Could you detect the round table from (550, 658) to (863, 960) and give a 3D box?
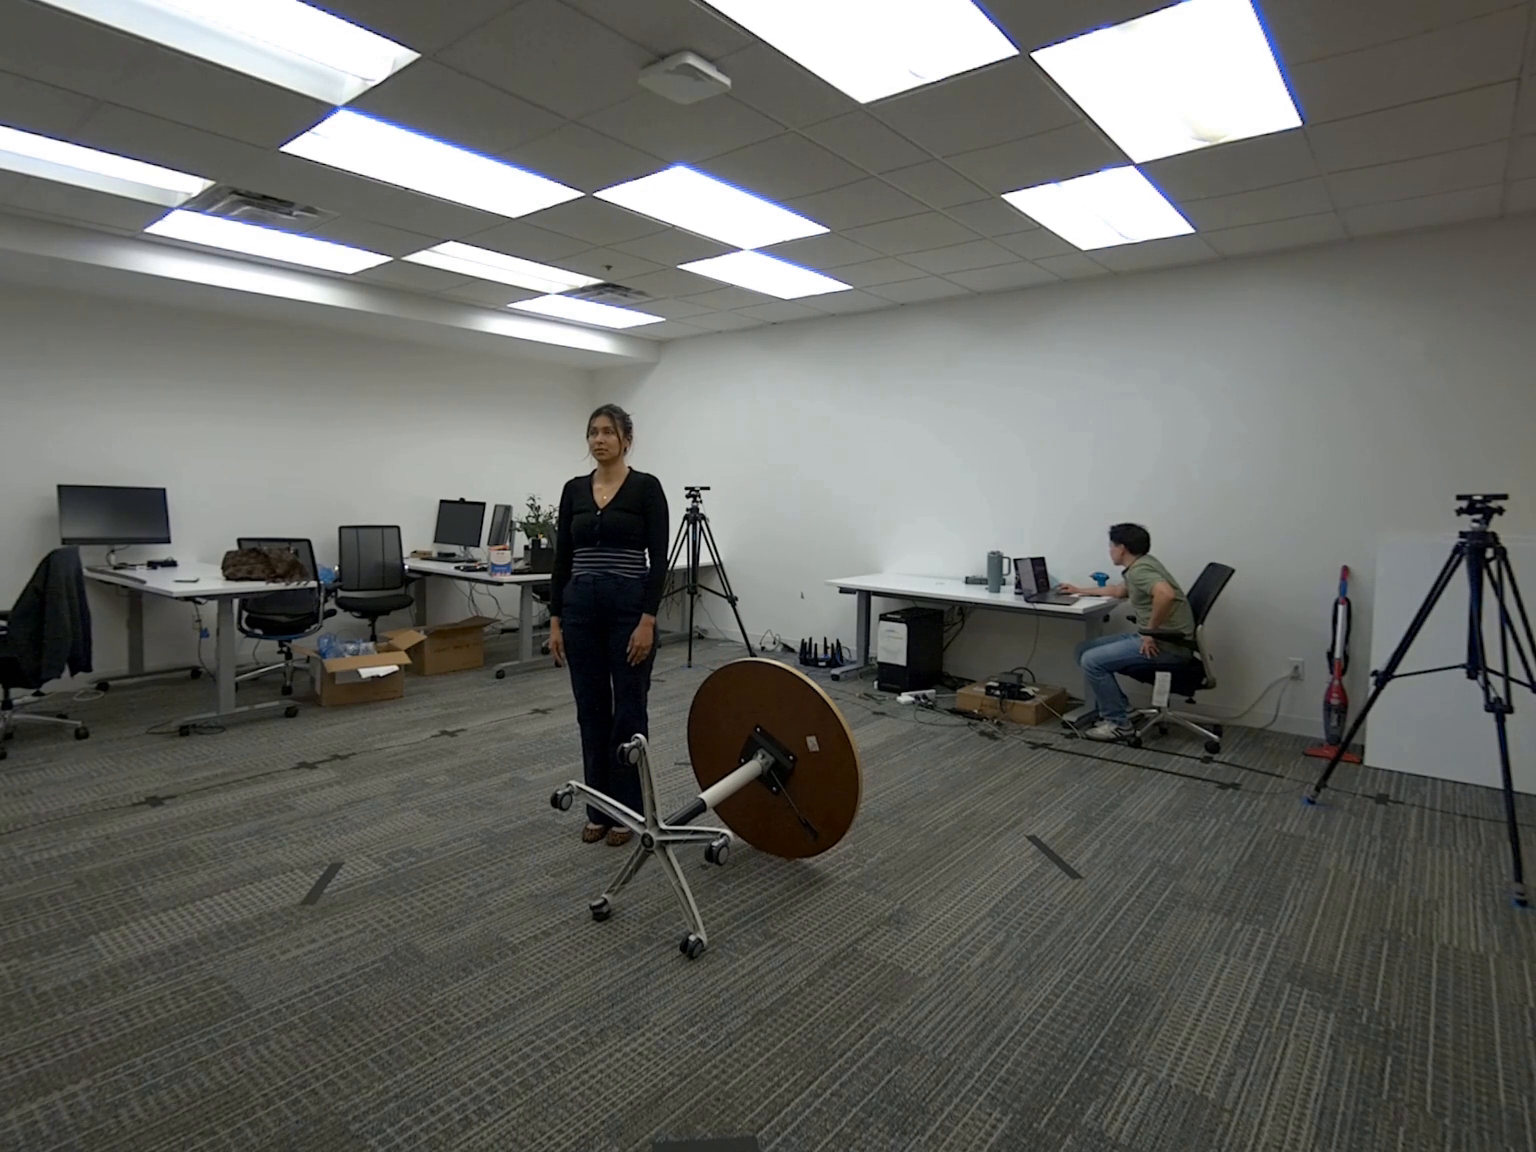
[{"bbox_3d":[-0.216,0.760,2.883,0.788,0.756,0.777,4,13,35],"label":"round table"}]
